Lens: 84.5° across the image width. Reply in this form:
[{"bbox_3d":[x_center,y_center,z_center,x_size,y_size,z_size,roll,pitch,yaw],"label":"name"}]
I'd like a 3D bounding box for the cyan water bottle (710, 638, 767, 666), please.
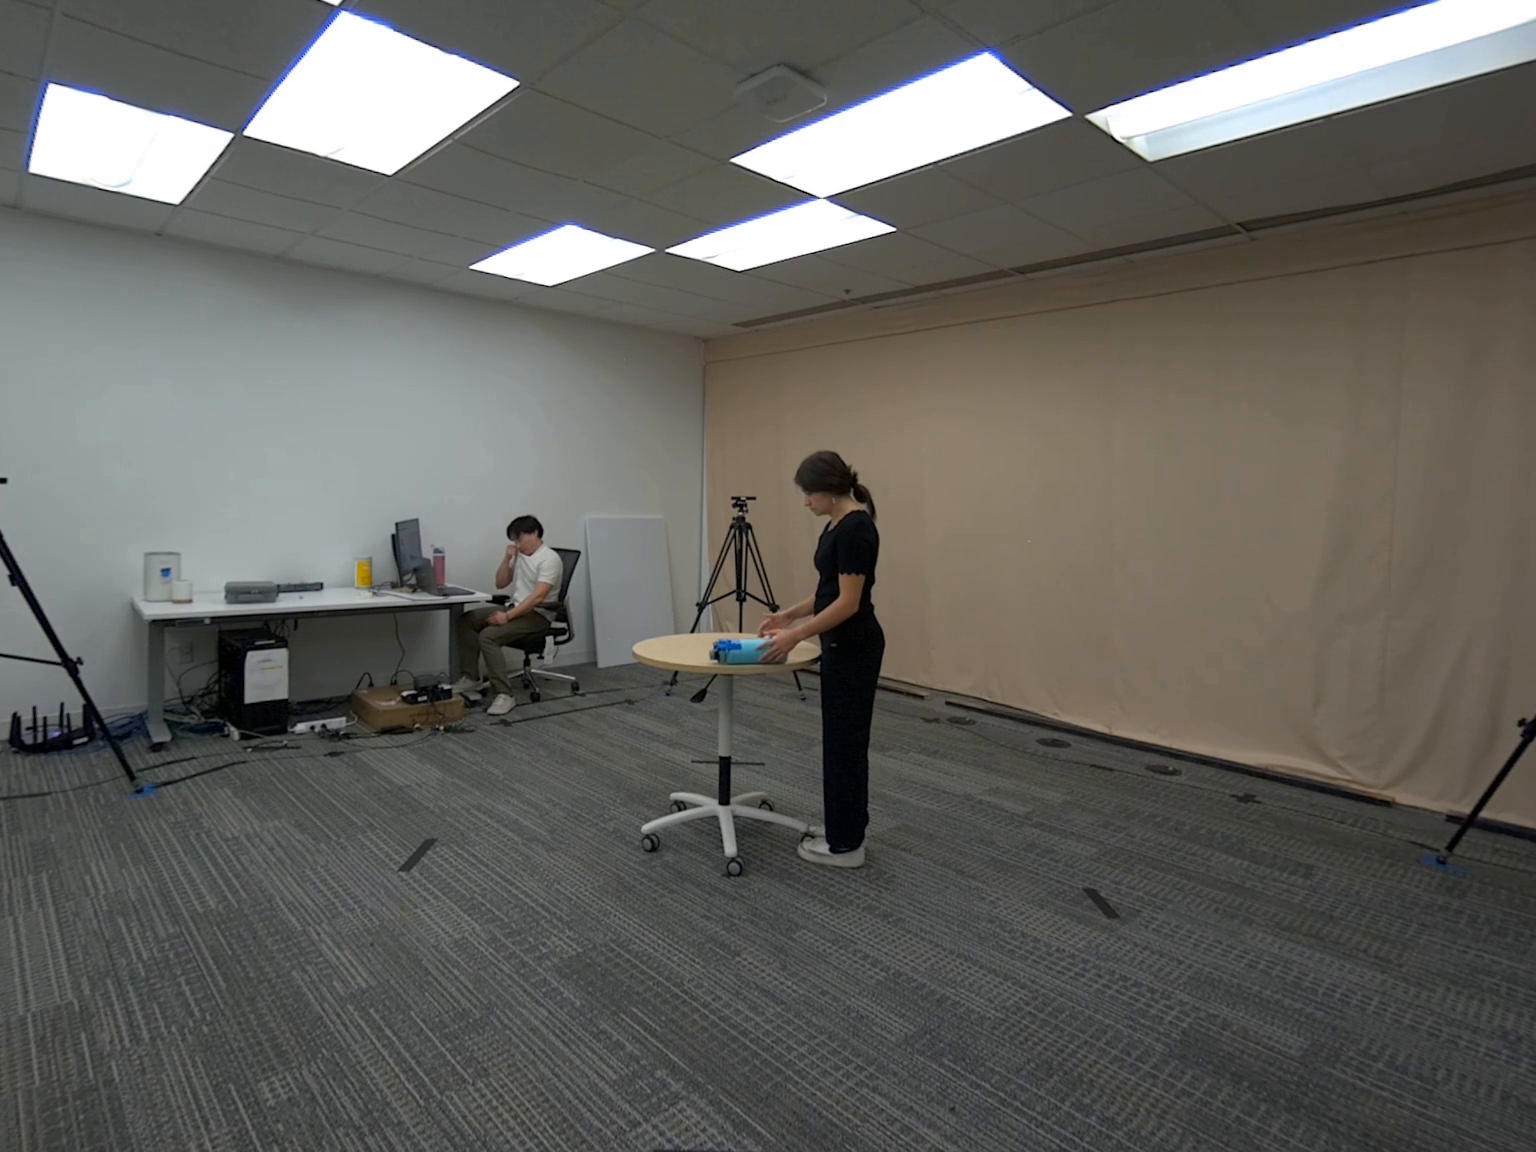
[{"bbox_3d":[-0.080,0.275,3.108,0.280,0.092,0.093,0,4,-15],"label":"cyan water bottle"}]
